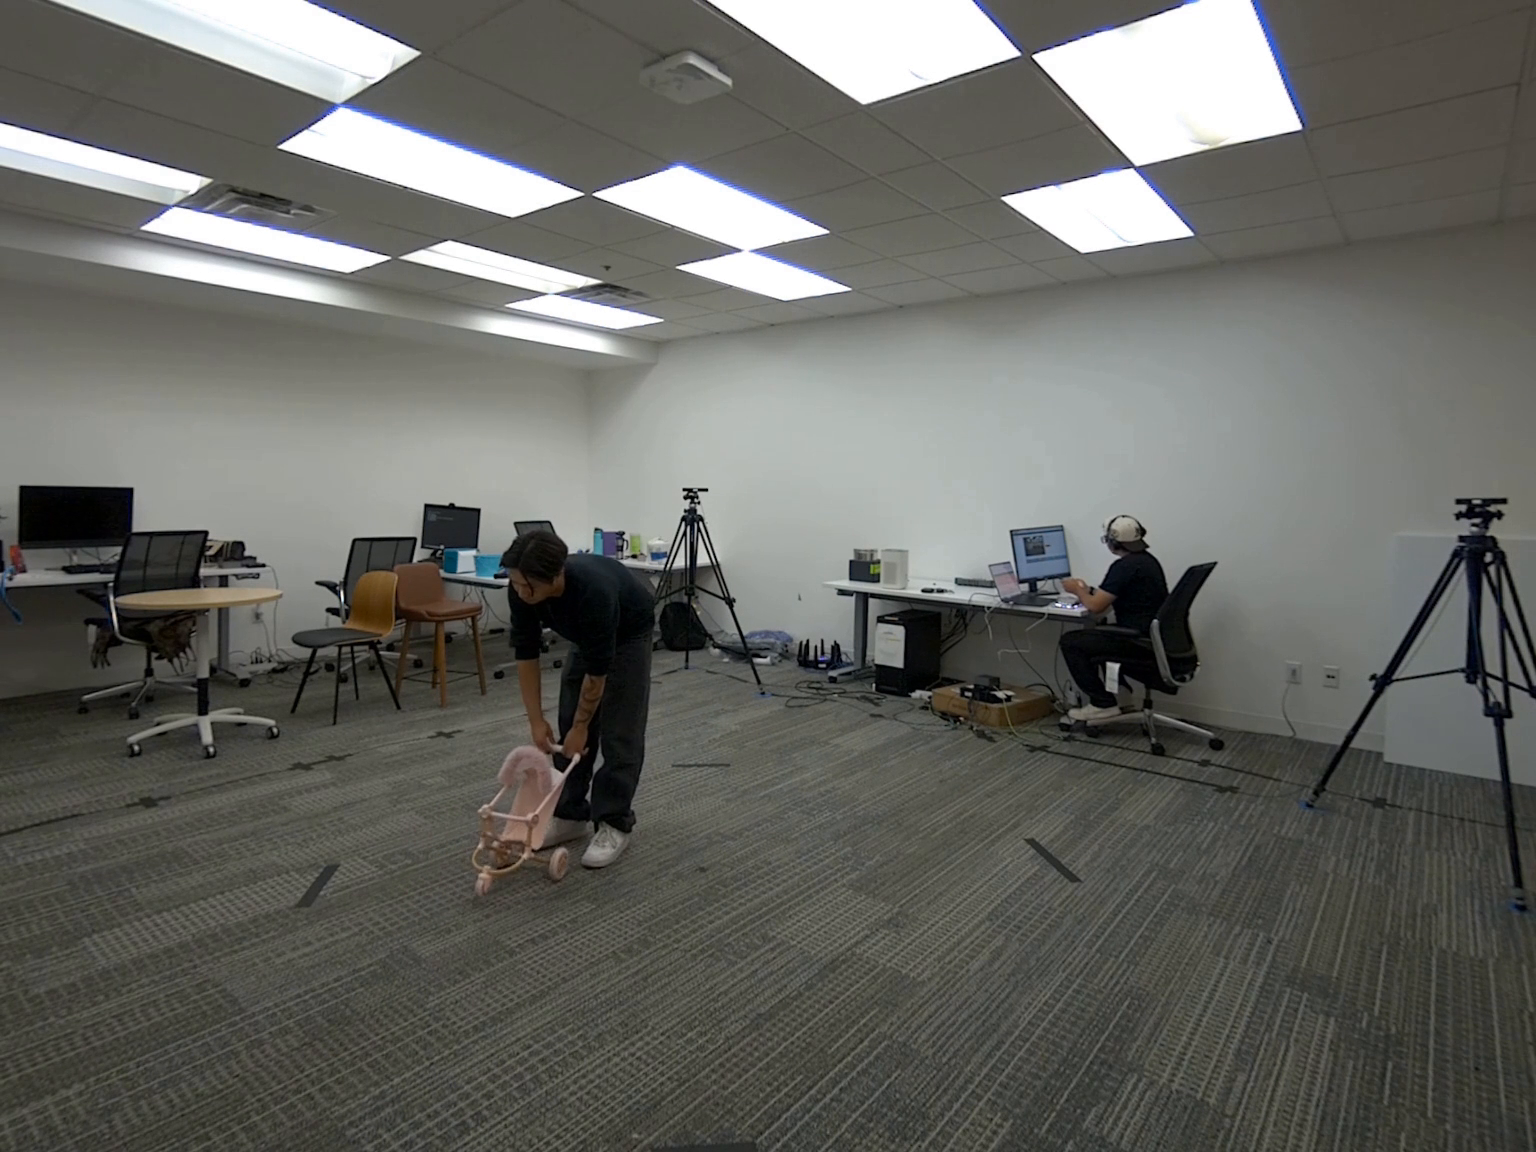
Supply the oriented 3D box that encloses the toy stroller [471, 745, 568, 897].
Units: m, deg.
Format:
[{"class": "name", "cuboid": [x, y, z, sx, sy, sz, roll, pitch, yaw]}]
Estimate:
[{"class": "toy stroller", "cuboid": [-0.887, 0.845, 2.996, 0.289, 0.542, 0.328, 2, -18, 25]}]
